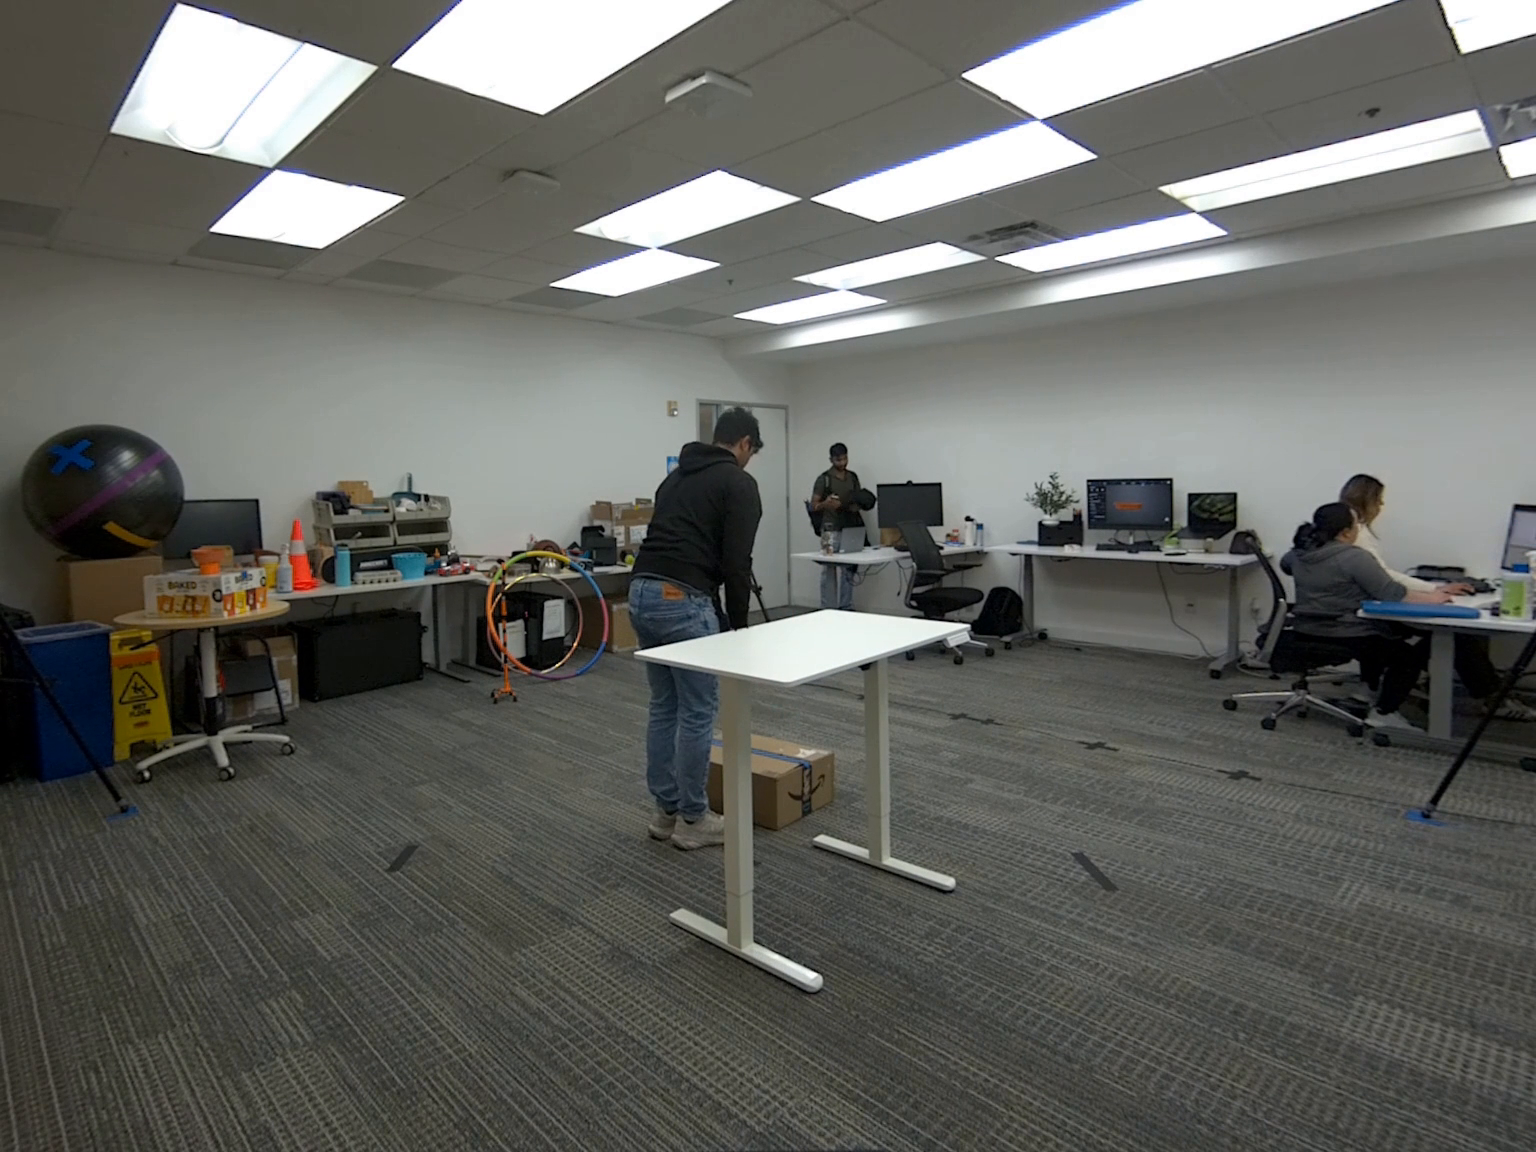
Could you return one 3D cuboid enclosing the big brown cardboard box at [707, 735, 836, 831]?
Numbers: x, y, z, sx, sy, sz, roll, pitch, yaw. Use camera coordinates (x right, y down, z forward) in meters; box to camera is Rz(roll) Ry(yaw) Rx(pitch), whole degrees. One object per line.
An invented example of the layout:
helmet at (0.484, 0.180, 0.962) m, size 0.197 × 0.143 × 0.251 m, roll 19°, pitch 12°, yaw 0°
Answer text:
big brown cardboard box at (-0.060, 0.867, 3.707) m, size 0.606 × 0.232 × 0.407 m, roll 3°, pitch 7°, yaw 38°
